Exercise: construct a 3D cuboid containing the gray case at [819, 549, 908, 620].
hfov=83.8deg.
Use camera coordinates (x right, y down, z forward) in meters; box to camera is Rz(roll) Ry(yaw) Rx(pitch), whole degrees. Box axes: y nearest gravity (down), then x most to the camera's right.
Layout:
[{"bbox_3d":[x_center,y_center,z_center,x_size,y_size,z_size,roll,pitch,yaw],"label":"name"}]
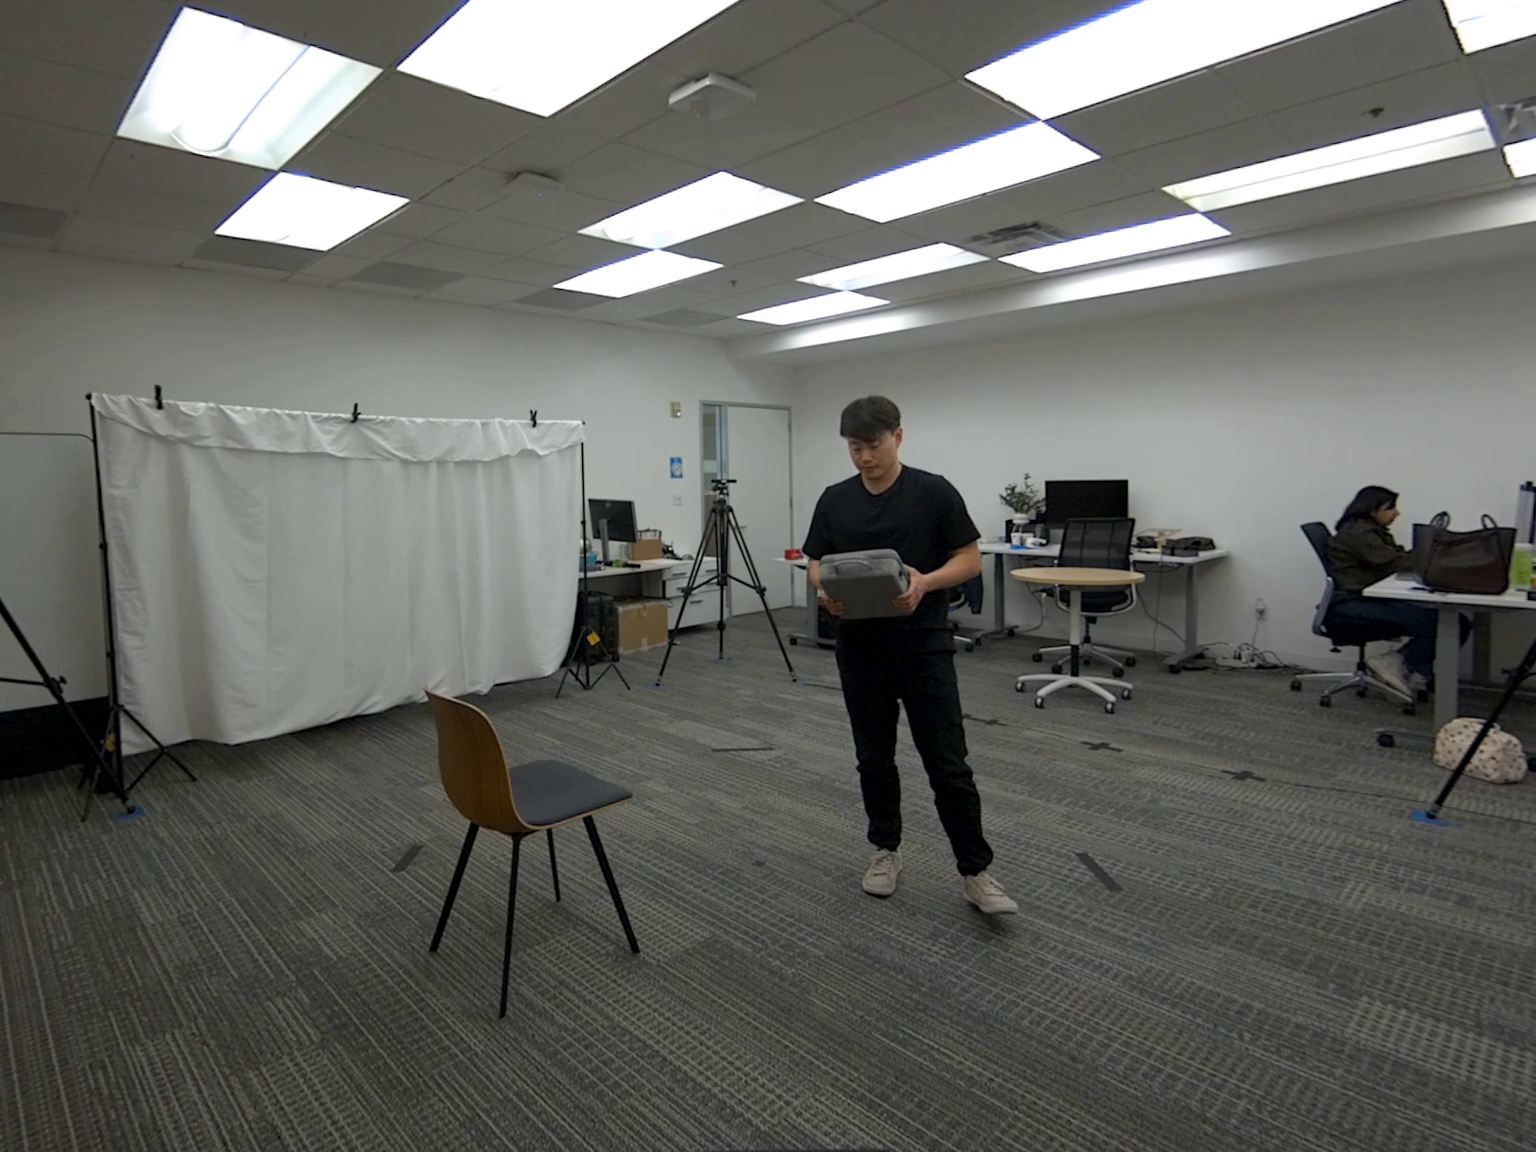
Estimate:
[{"bbox_3d":[0.318,0.028,2.667,0.262,0.106,0.250,-6,-34,26],"label":"gray case"}]
